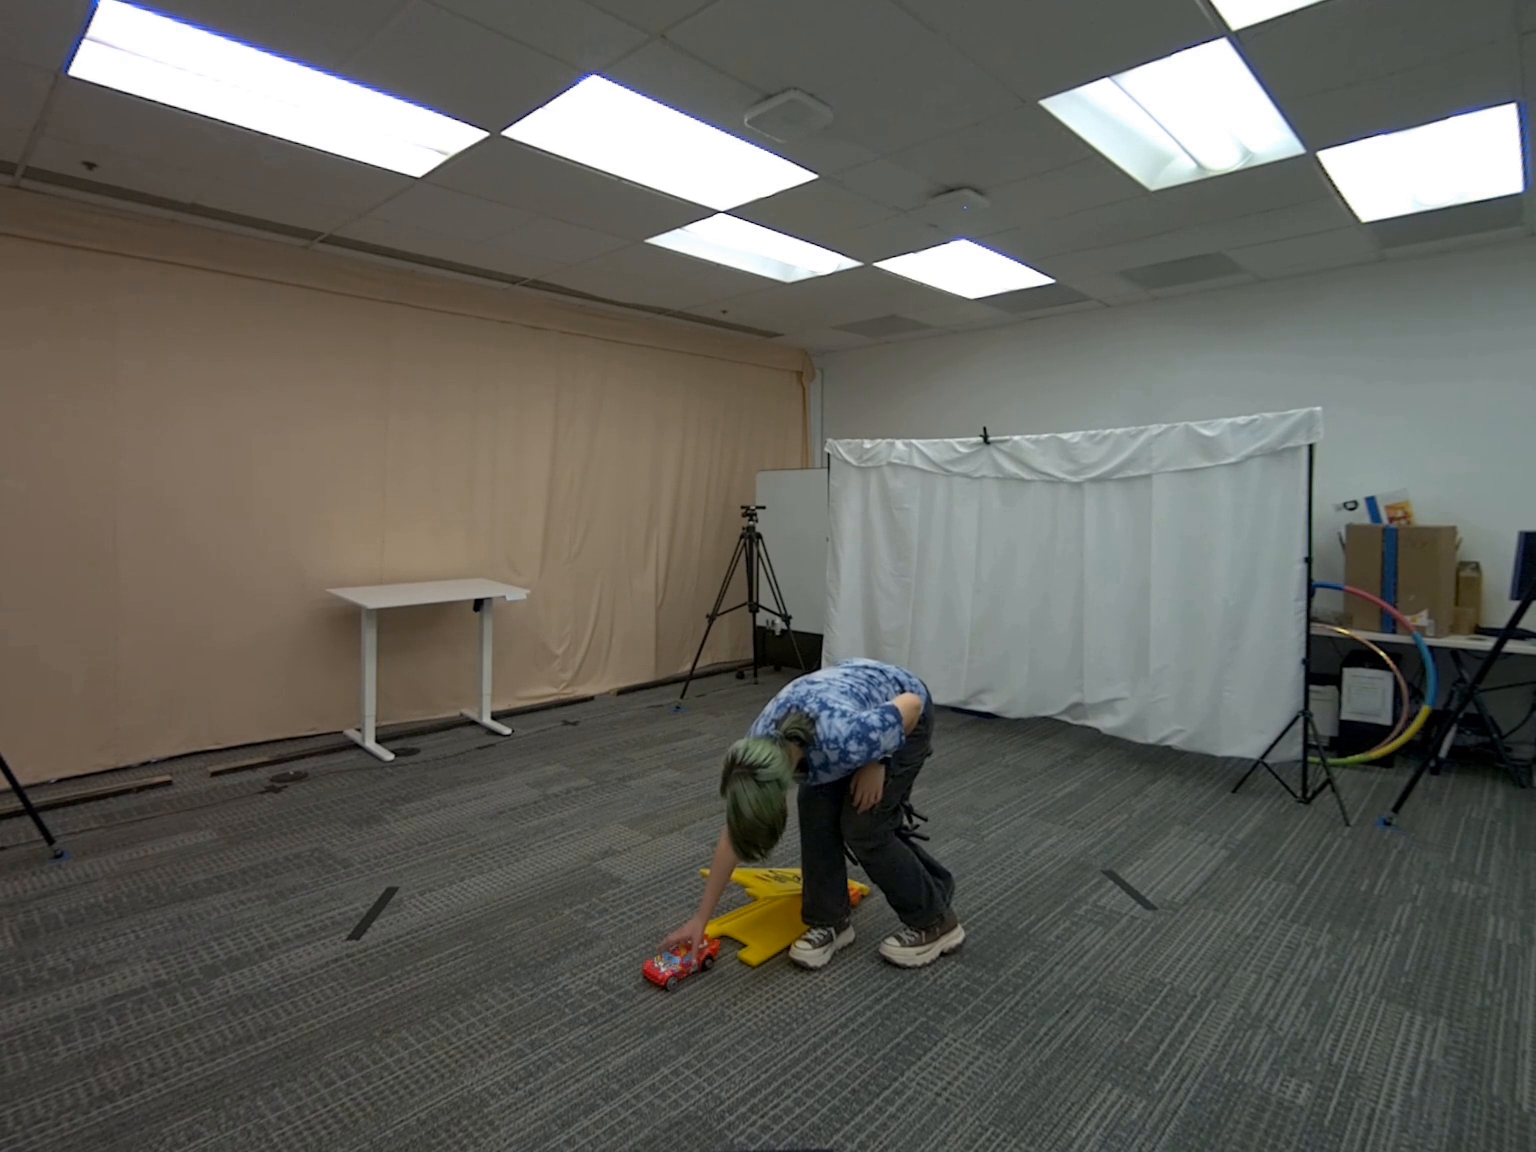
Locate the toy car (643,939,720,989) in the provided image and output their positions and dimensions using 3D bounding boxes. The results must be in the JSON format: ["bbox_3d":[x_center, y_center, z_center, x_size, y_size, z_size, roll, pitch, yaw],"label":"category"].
[{"bbox_3d":[-0.250,1.159,2.523,0.135,0.082,0.248,4,18,45],"label":"toy car"}]
